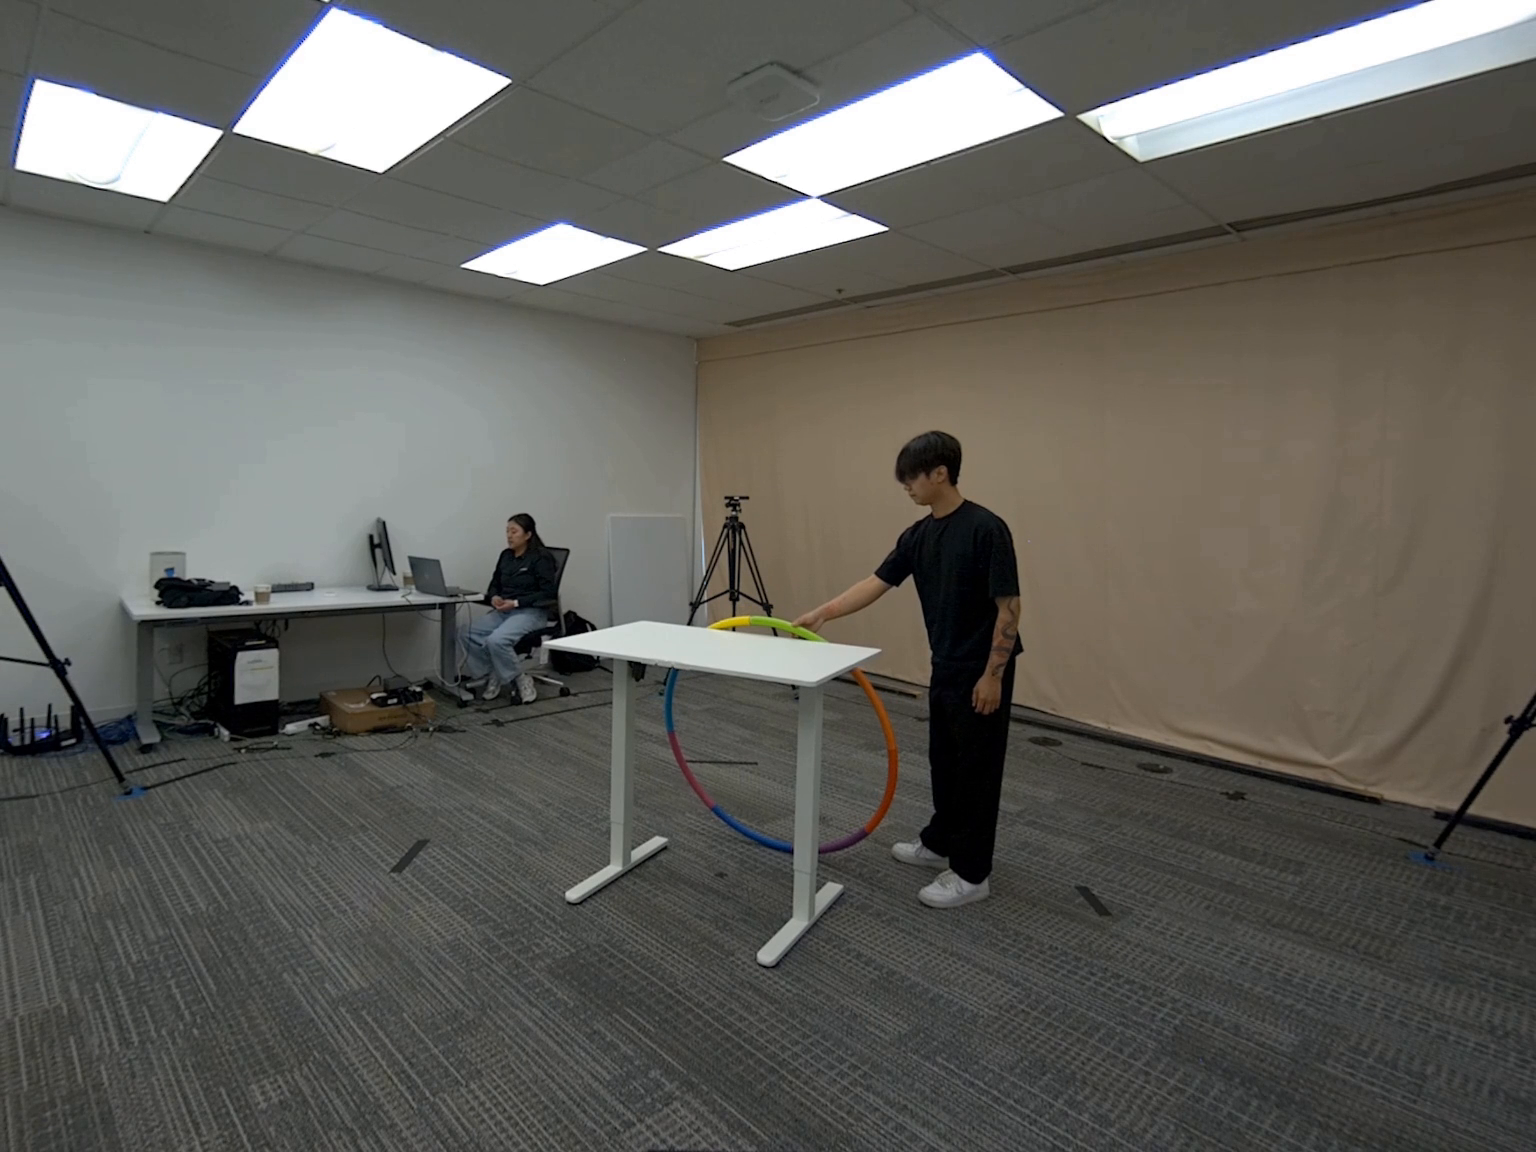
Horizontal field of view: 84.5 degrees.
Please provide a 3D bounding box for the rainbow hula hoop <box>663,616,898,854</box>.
[{"bbox_3d":[0.008,0.623,3.234,1.000,0.967,0.035,4,16,29],"label":"rainbow hula hoop"}]
